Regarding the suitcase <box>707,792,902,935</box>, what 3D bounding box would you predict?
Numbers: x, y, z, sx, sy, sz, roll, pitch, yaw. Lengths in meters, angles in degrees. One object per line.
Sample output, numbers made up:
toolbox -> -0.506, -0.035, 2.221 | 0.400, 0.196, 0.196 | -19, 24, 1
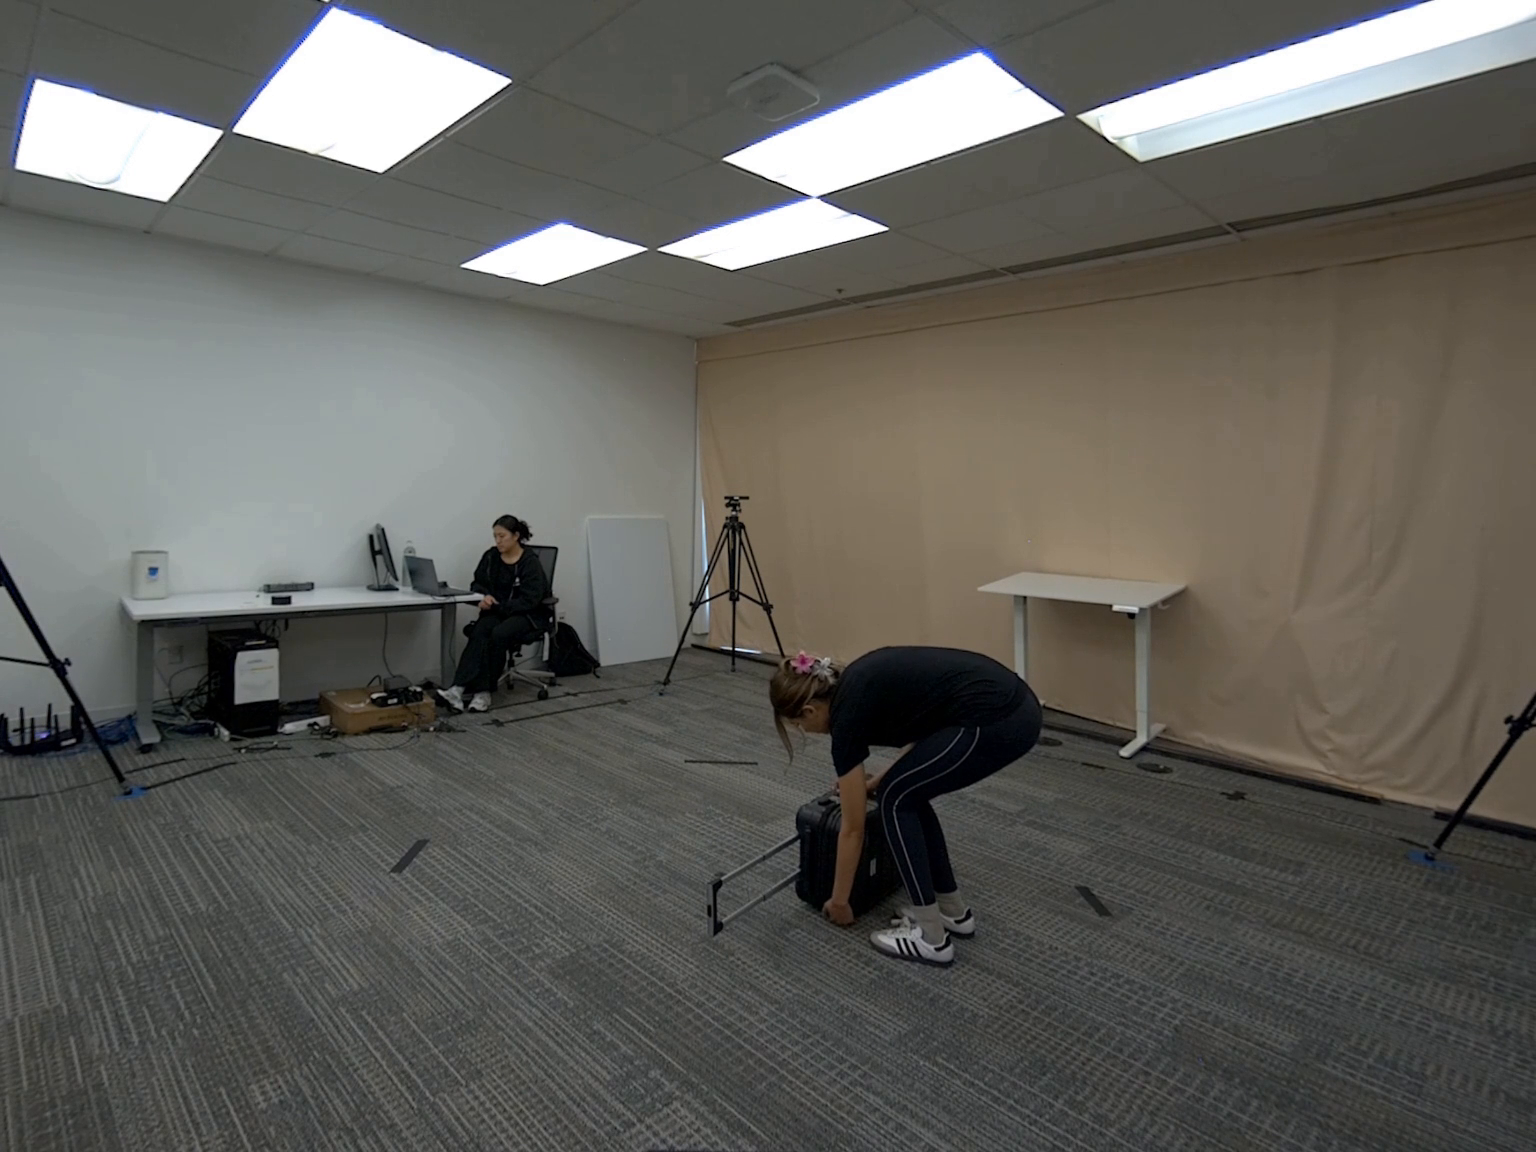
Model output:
suitcase -> 0.199, 0.954, 2.813 | 0.263, 0.383, 0.958 | 4, 6, 35
